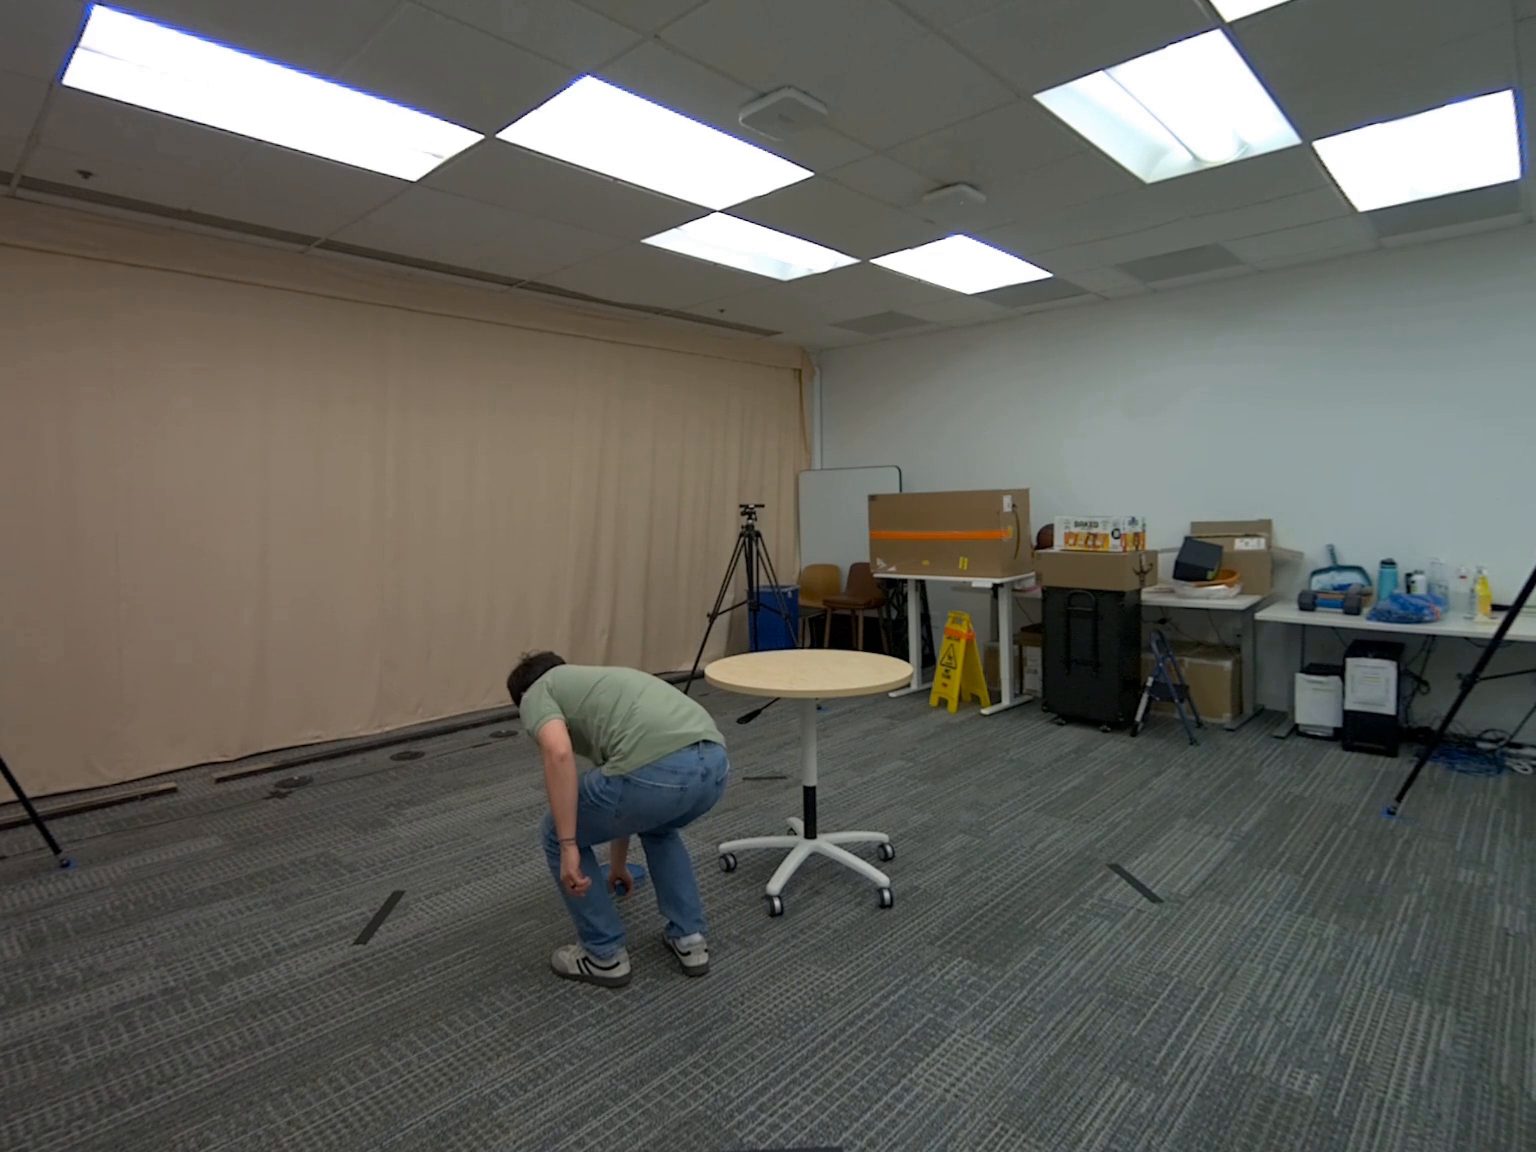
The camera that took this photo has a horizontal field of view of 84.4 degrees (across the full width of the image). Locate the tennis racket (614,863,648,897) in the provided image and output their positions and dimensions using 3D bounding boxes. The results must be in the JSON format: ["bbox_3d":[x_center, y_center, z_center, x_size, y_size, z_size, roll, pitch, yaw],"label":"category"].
[{"bbox_3d":[-0.549,1.097,3.056,0.211,0.032,0.436,2,-6,-12],"label":"tennis racket"}]
